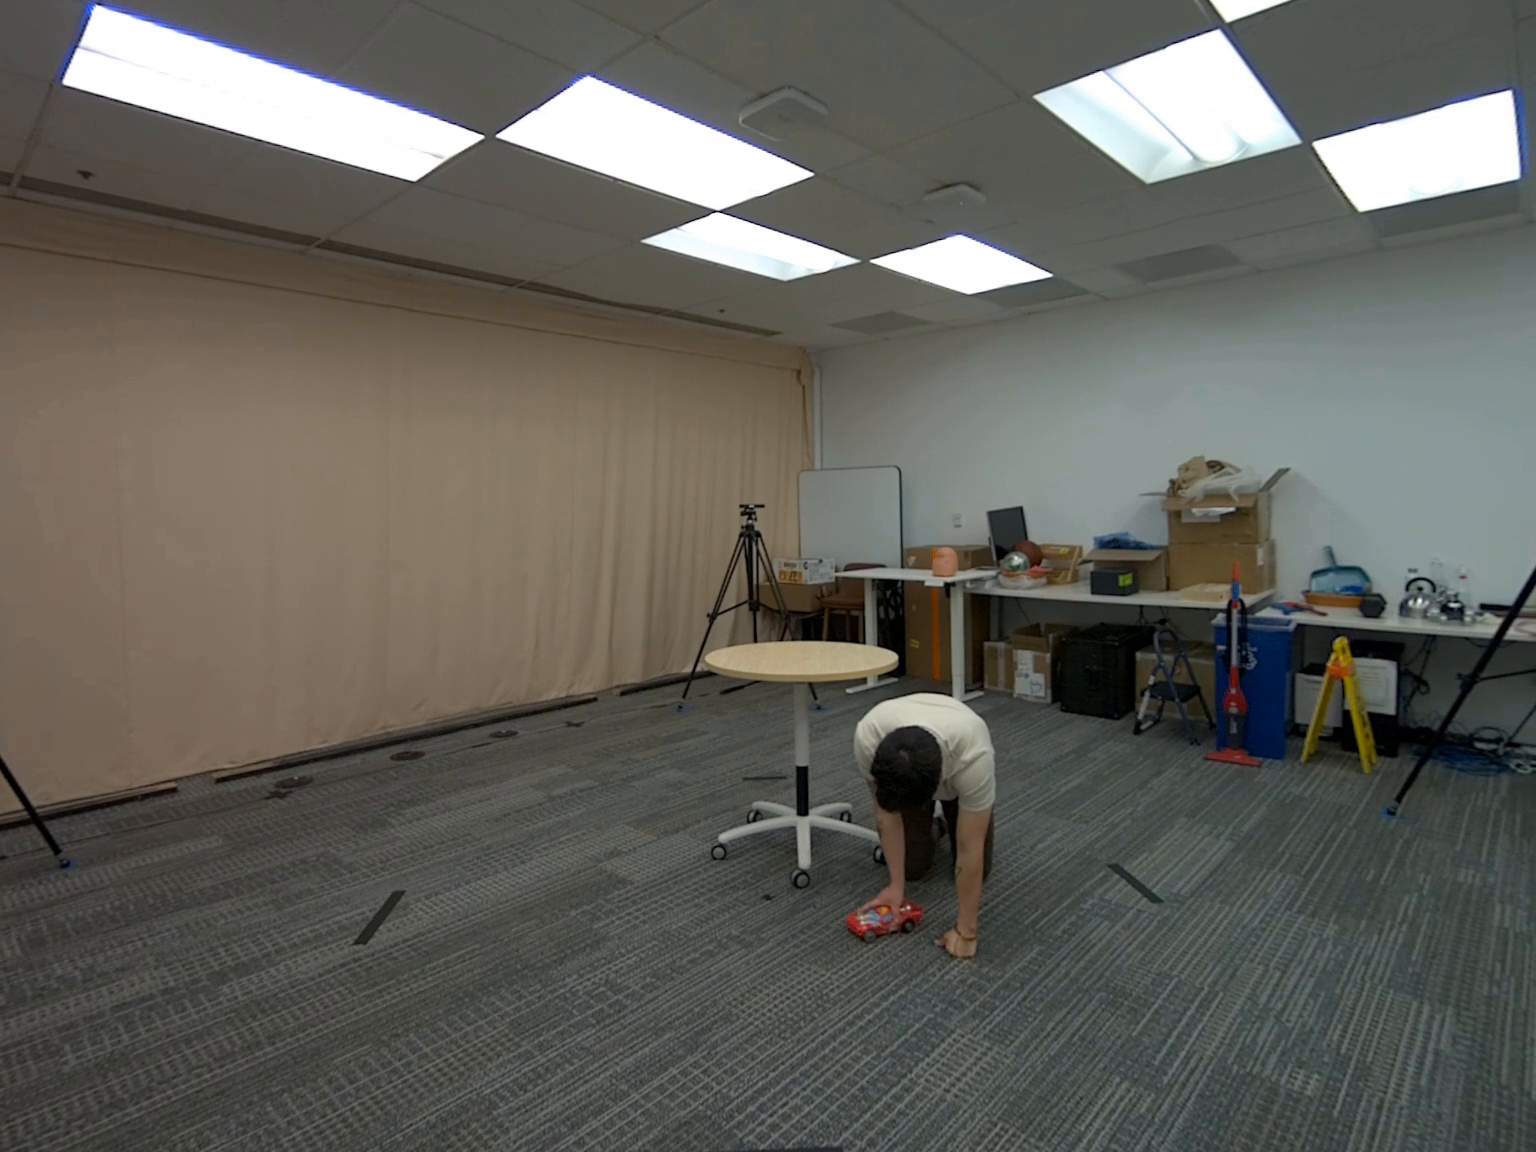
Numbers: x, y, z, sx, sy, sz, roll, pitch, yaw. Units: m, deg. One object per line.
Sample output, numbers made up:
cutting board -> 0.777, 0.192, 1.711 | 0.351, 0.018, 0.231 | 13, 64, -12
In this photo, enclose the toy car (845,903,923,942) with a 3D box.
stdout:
toy car -> 0.379, 1.122, 2.751 | 0.250, 0.083, 0.133 | -14, 9, -20
